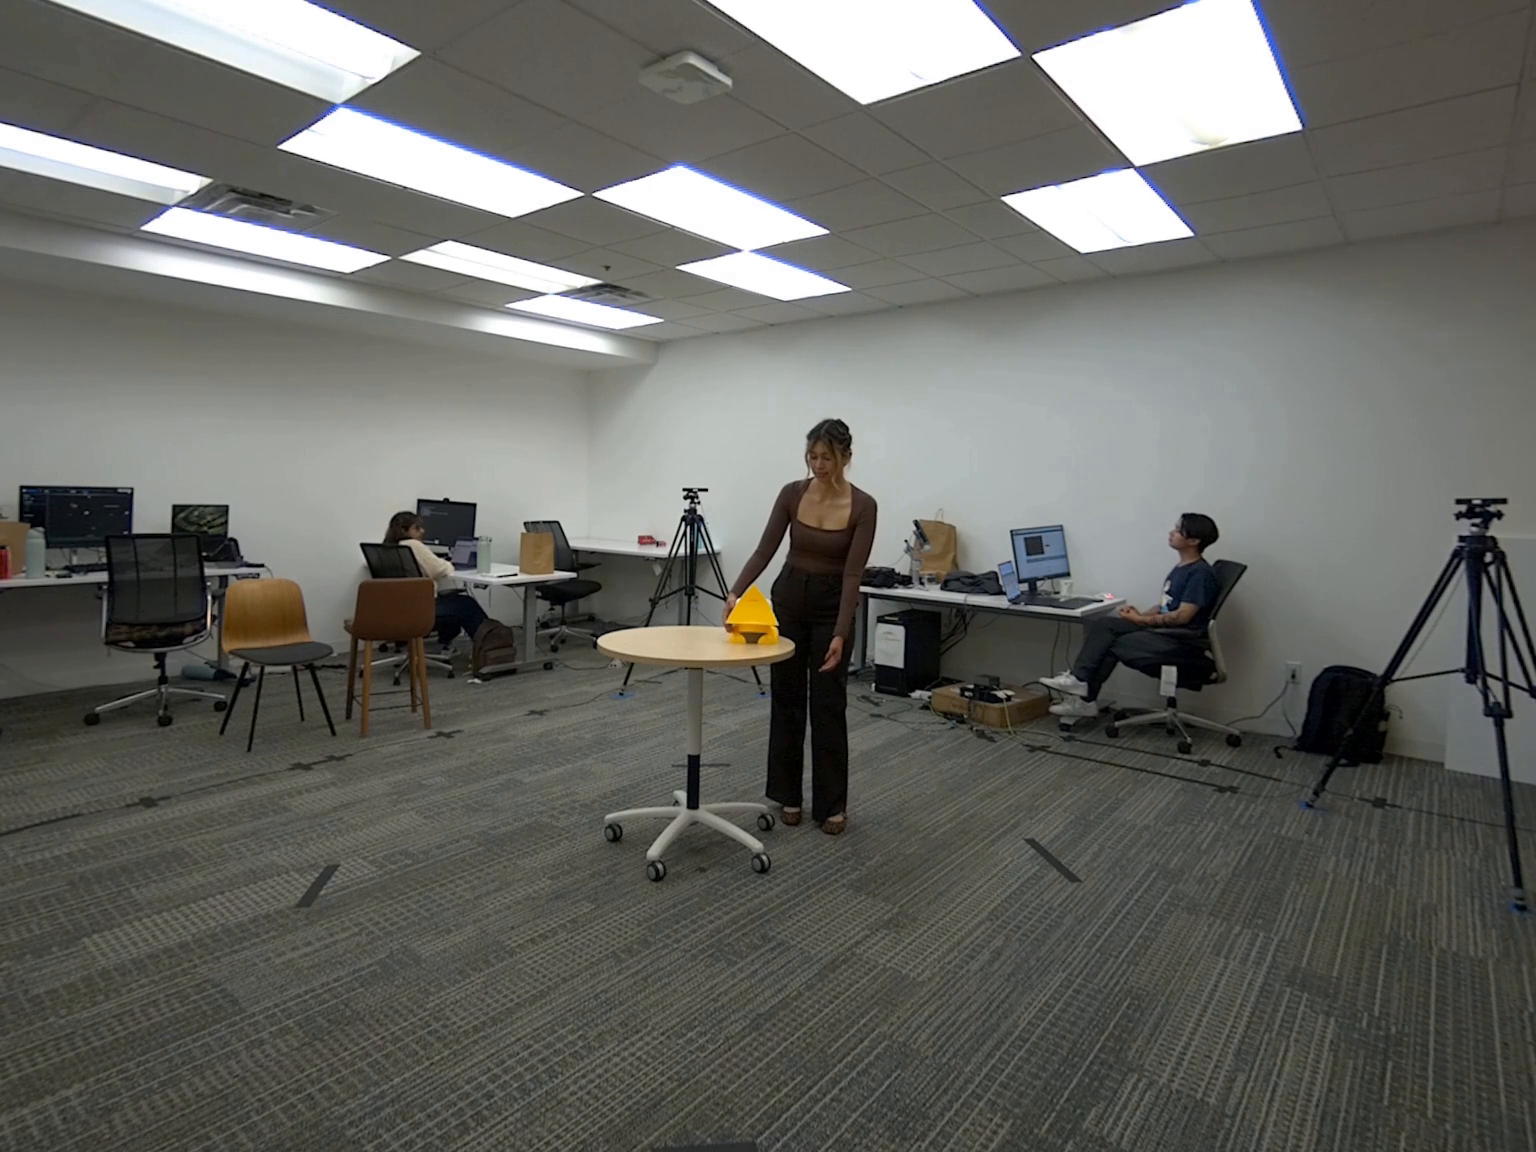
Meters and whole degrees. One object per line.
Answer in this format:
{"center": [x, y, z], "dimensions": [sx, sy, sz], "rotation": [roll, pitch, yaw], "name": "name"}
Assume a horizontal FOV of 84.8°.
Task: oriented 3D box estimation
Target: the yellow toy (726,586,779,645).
{"center": [-0.066, 0.139, 3.349], "dimensions": [0.206, 0.230, 0.192], "rotation": [2, 4, 4], "name": "yellow toy"}
